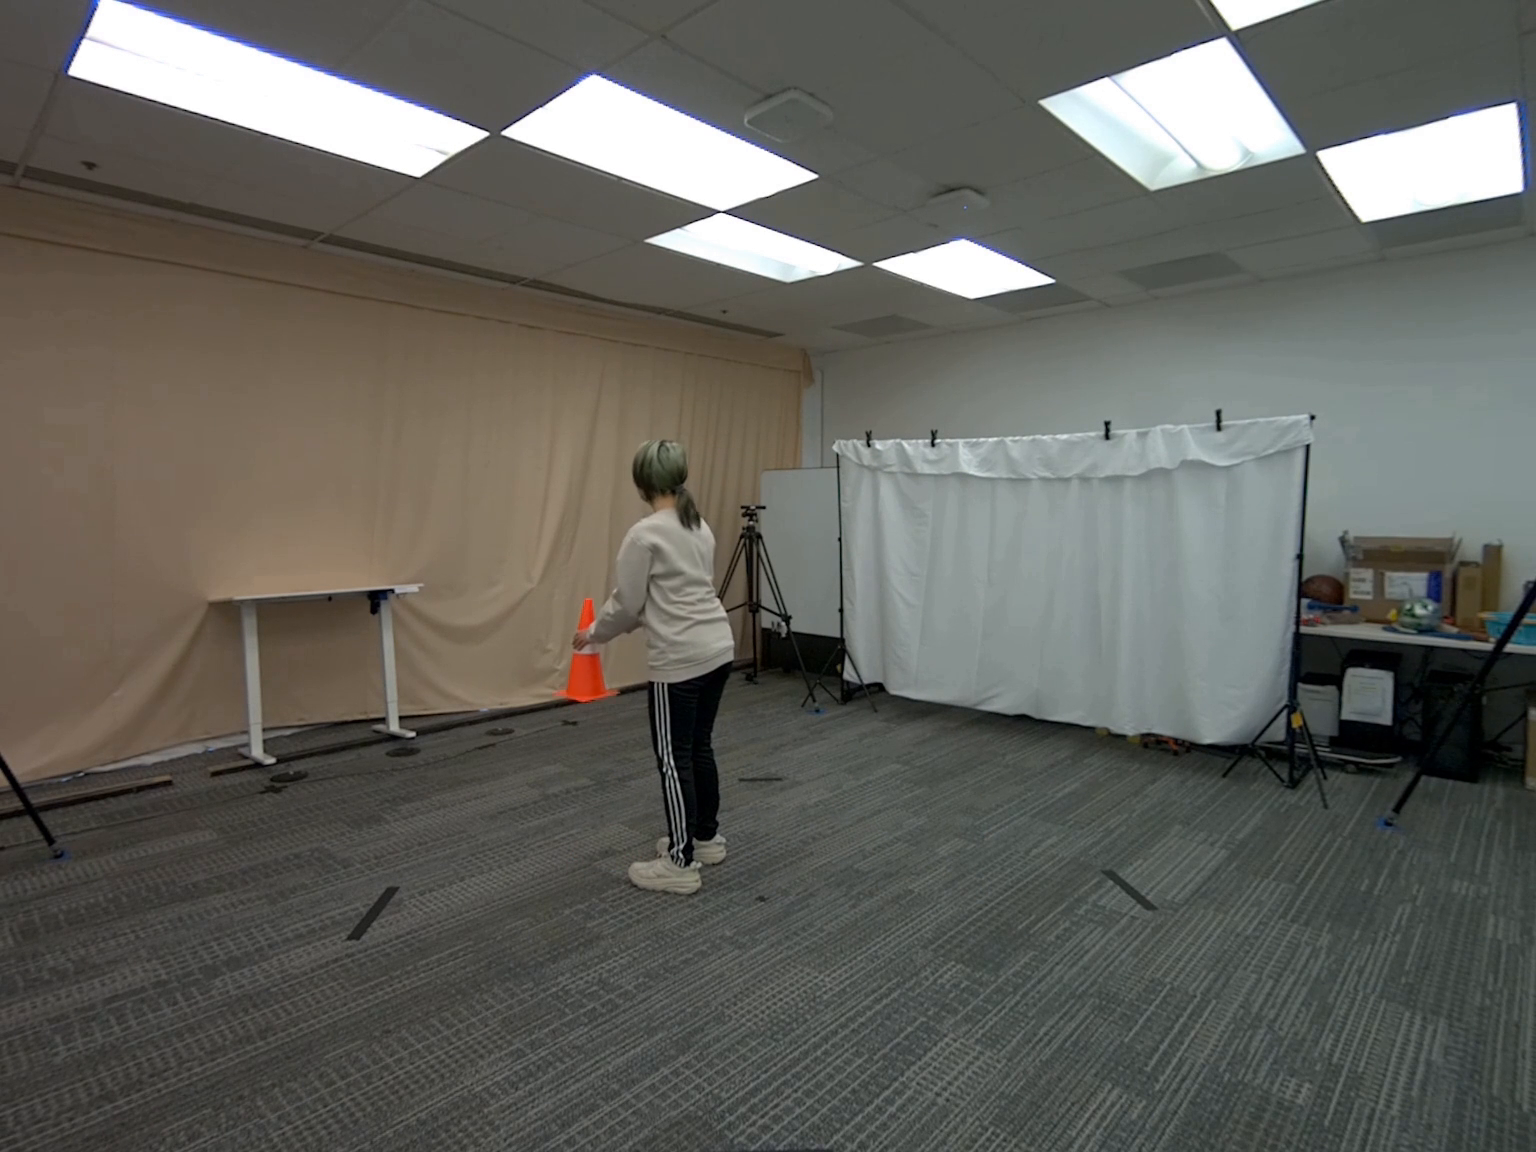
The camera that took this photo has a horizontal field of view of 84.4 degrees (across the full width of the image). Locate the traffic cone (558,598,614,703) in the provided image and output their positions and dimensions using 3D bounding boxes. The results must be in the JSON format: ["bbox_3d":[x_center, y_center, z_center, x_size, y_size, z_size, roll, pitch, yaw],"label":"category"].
[{"bbox_3d":[-0.714,0.291,3.360,0.198,0.383,0.210,3,2,-41],"label":"traffic cone"}]
